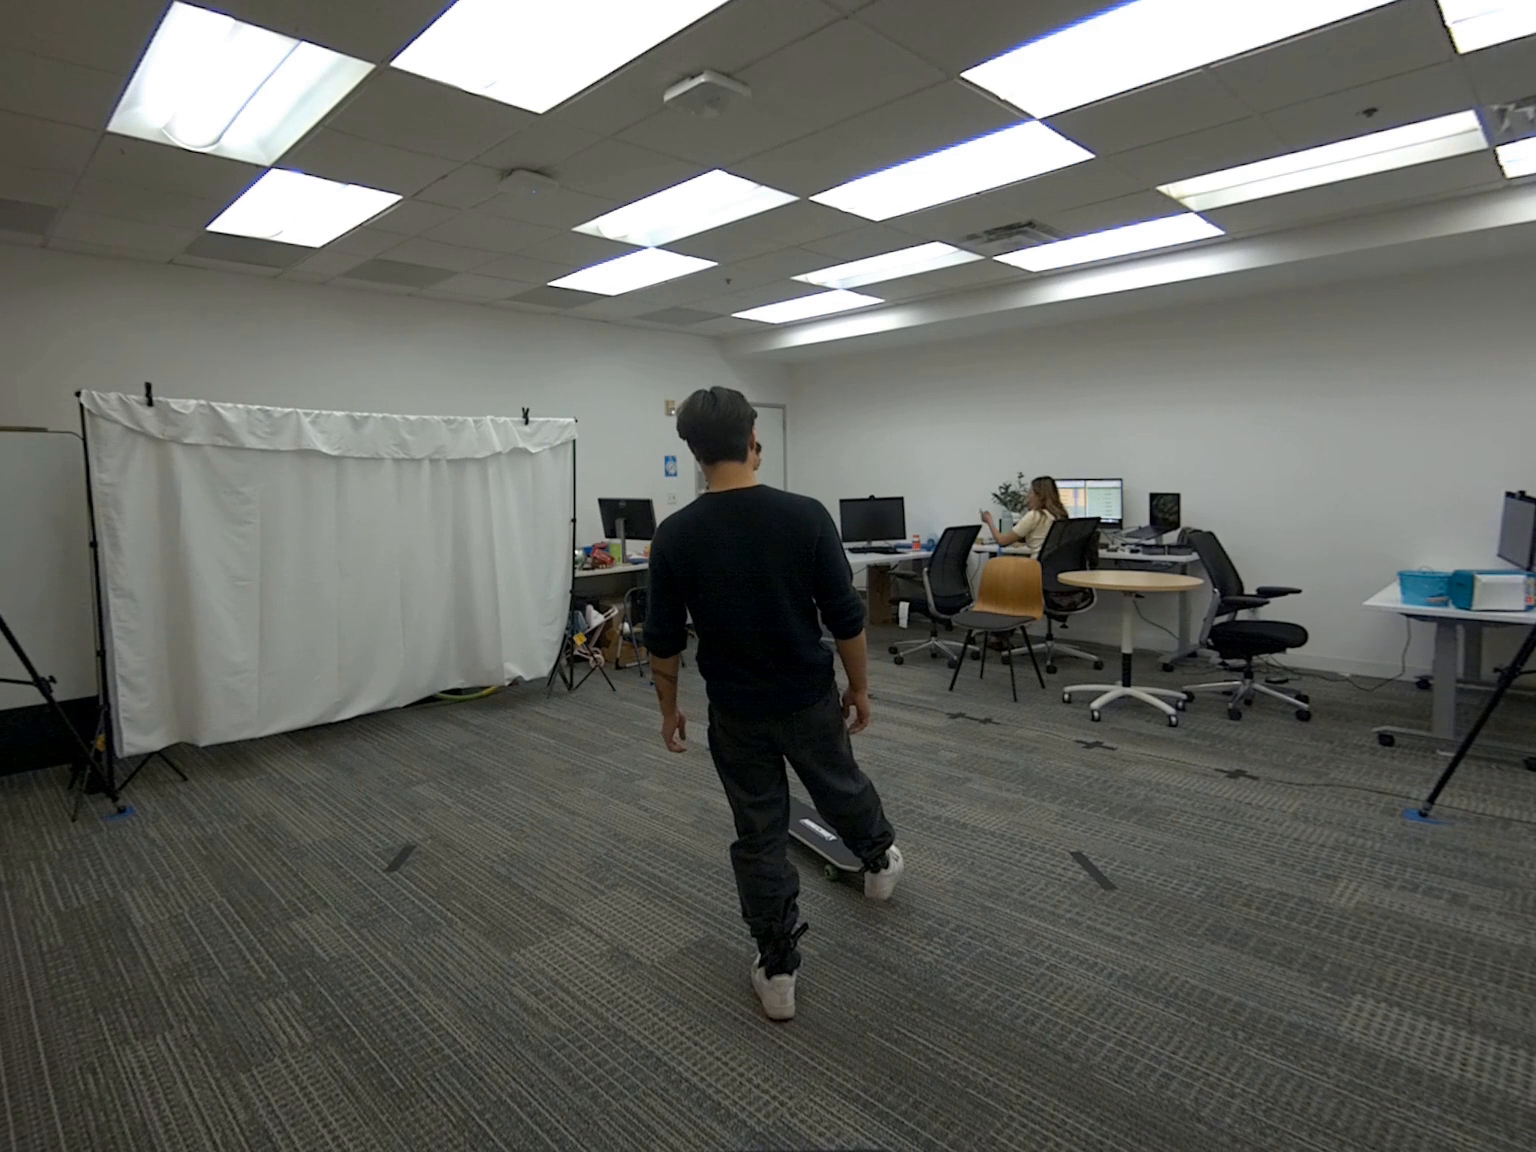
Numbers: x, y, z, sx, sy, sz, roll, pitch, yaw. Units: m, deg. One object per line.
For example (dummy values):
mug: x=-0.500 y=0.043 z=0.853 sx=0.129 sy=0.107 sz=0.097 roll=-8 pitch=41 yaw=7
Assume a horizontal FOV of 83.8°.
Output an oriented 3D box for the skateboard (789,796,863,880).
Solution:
skateboard: x=0.197 y=0.980 z=3.177 sx=0.189 sy=0.110 sz=0.806 roll=-4 pitch=6 yaw=-27
